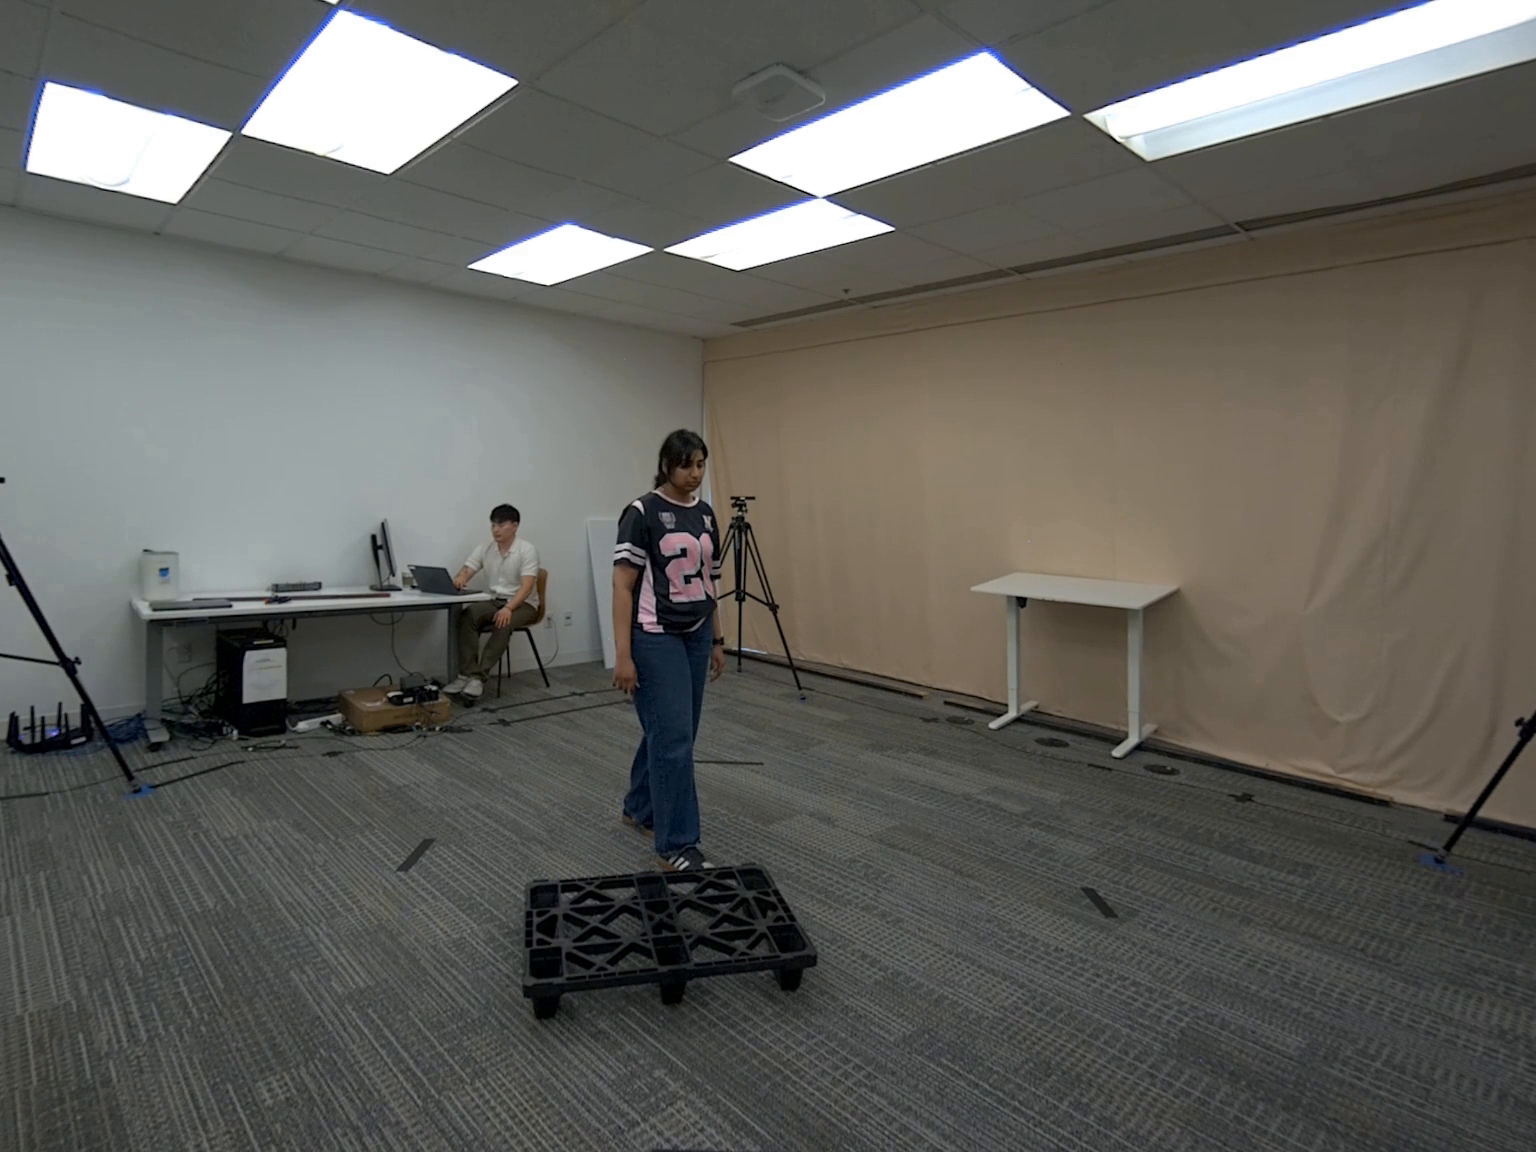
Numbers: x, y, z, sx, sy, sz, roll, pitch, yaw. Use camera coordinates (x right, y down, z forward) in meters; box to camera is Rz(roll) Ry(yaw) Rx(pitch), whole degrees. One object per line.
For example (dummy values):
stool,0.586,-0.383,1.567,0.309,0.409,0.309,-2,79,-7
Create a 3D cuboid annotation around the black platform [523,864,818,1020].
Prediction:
black platform,-0.326,1.087,2.526,0.797,0.143,0.614,0,6,-14
